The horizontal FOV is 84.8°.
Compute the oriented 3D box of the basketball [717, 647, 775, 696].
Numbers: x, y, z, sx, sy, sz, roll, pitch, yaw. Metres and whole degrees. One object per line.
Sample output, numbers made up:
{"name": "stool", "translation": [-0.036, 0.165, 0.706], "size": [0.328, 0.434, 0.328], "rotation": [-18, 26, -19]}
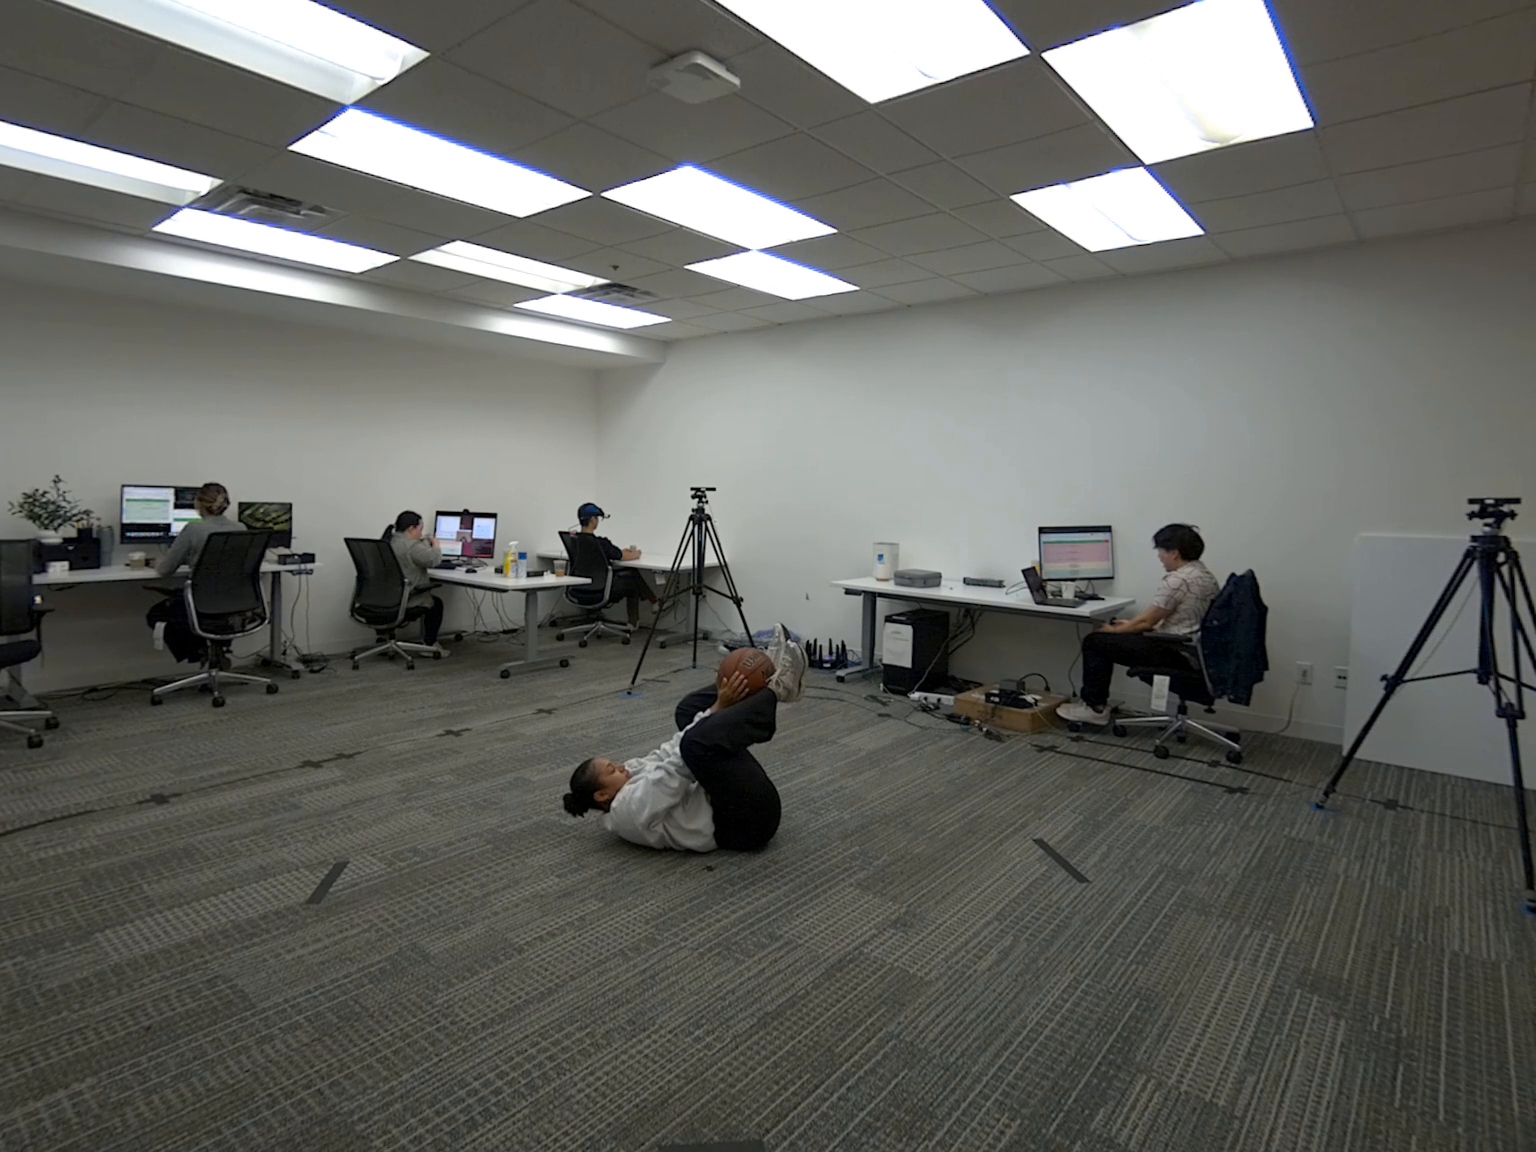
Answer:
{"name": "basketball", "translation": [-0.082, 0.405, 3.411], "size": [0.235, 0.235, 0.237], "rotation": [1, 4, -2]}
